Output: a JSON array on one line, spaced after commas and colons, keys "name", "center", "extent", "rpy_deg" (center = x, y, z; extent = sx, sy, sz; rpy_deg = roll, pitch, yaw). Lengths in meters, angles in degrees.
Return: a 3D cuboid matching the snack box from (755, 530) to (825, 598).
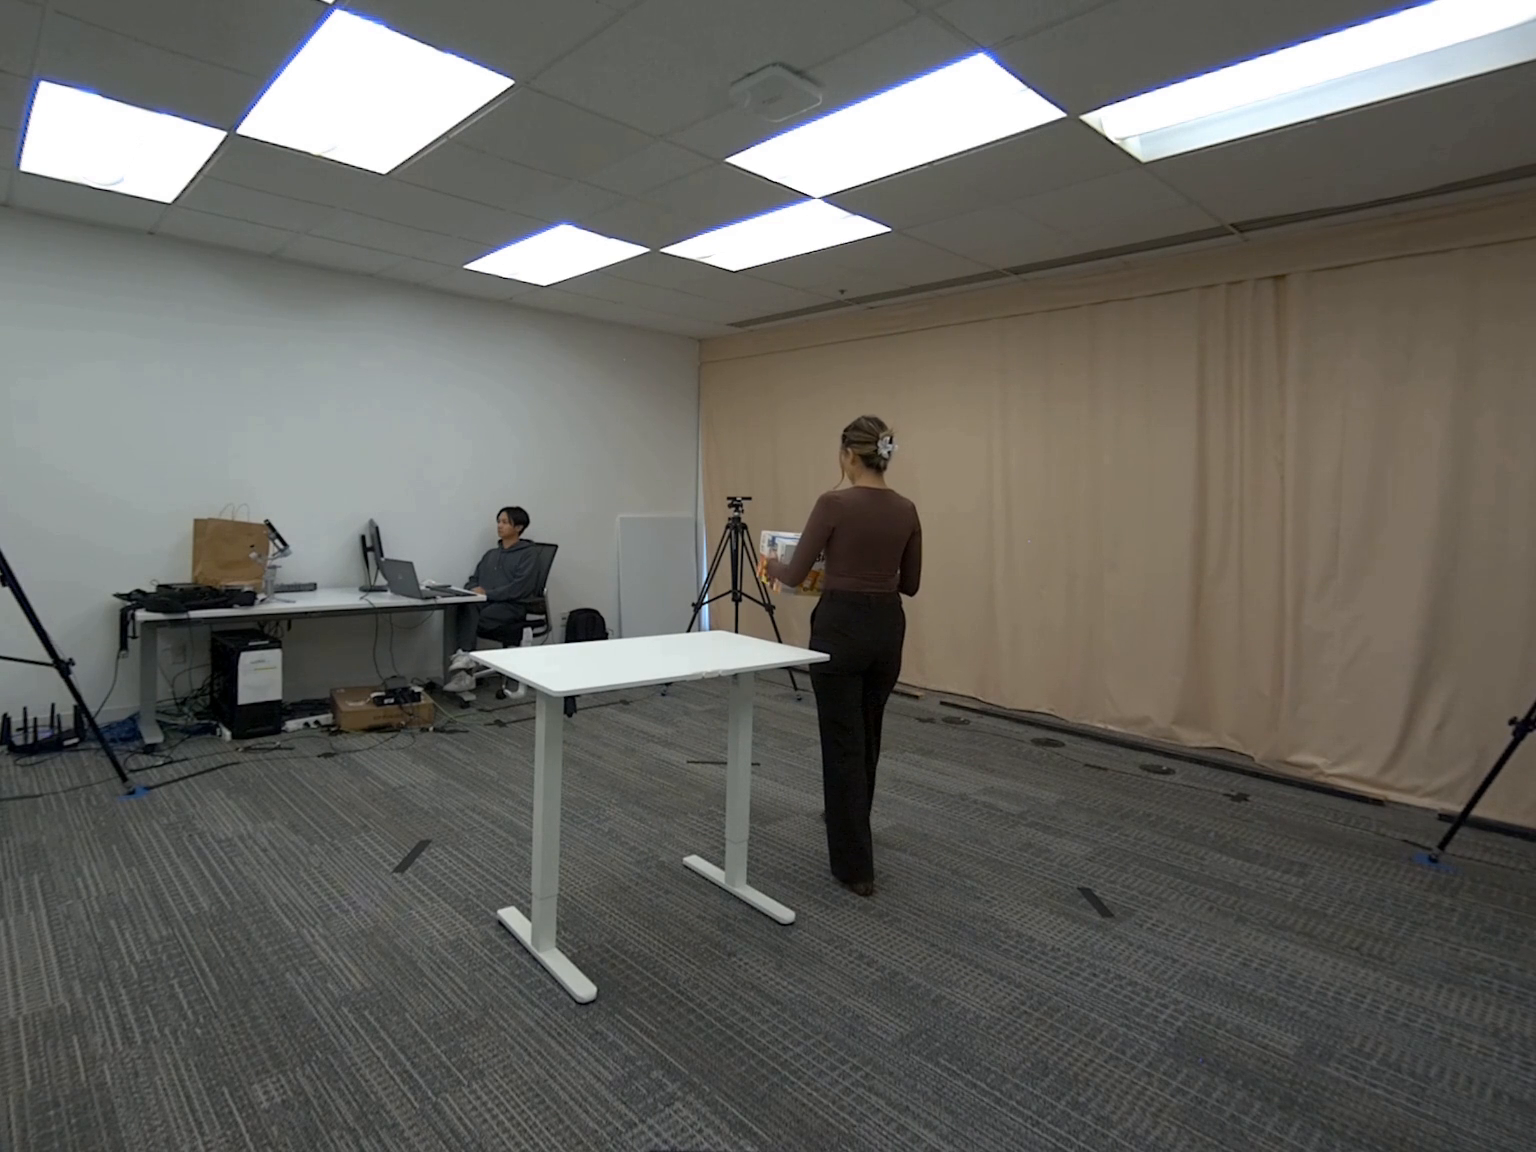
[{"name": "snack box", "center": [0.199, -0.049, 3.466], "extent": [0.400, 0.204, 0.347], "rpy_deg": [3, 10, -16]}]
